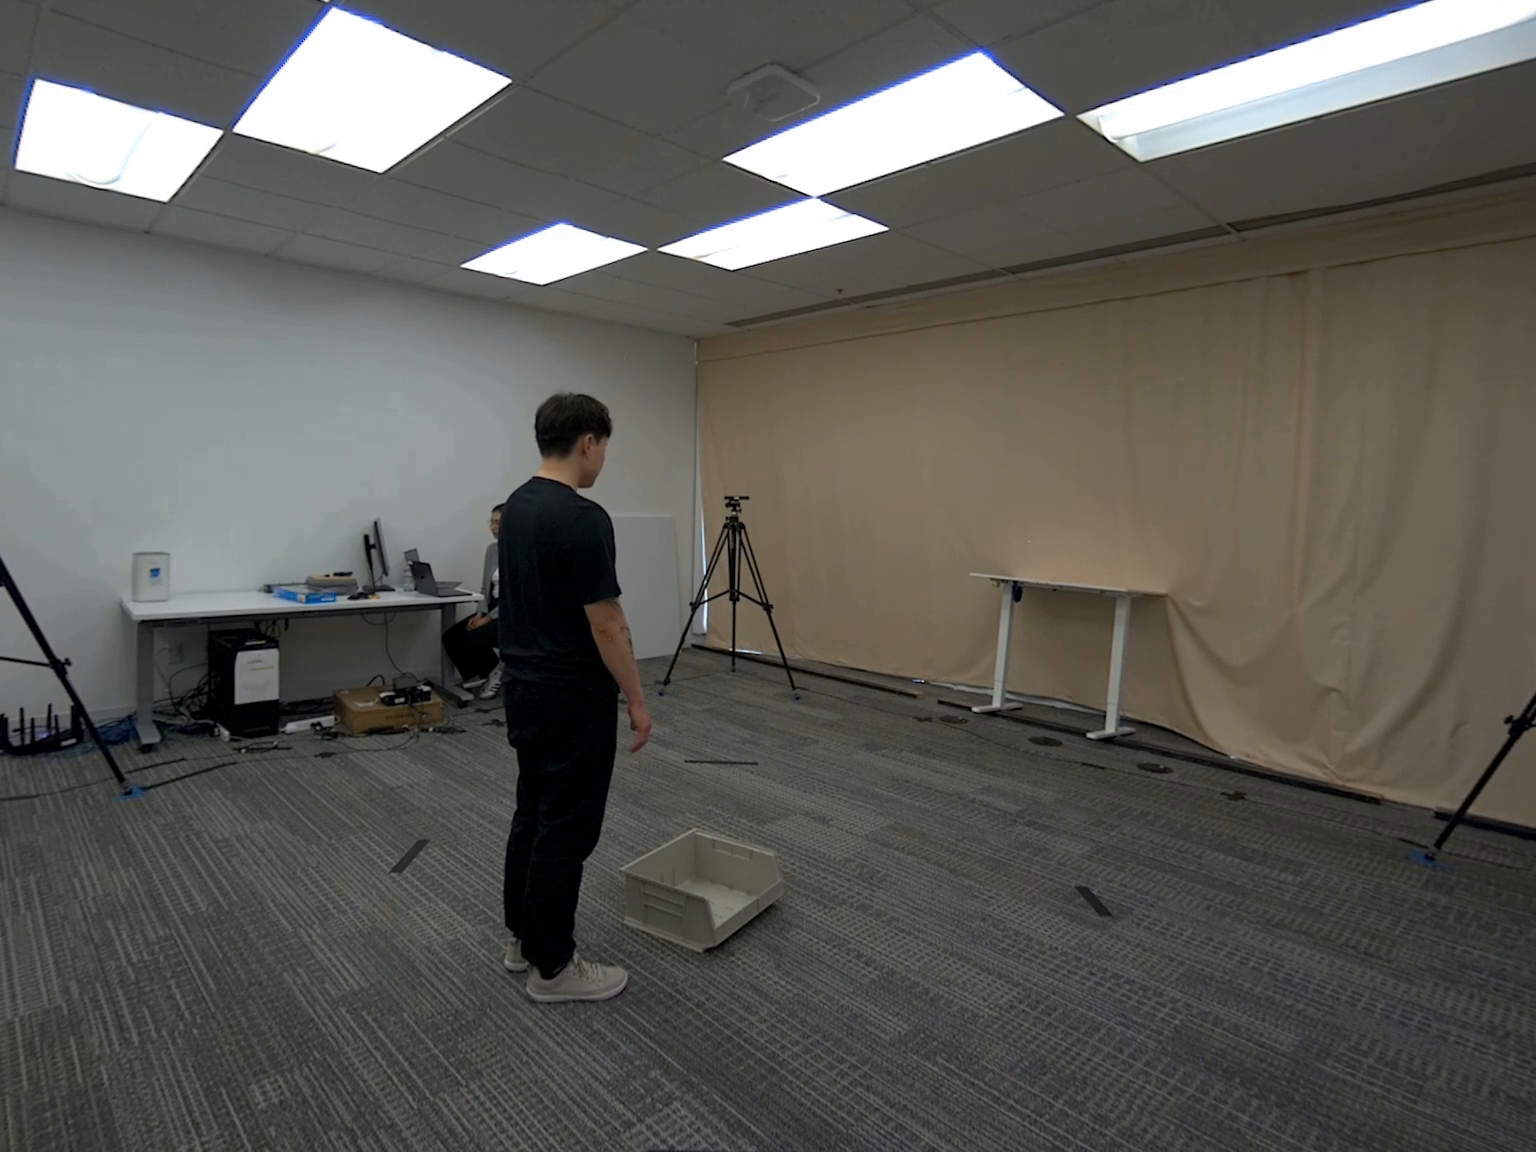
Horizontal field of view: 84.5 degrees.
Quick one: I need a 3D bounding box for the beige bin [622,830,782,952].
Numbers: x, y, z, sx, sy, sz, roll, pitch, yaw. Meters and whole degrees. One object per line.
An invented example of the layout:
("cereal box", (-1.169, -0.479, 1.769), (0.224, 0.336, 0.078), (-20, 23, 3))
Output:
("beige bin", (-0.218, 1.042, 2.804), (0.386, 0.188, 0.414), (3, 6, 31))
